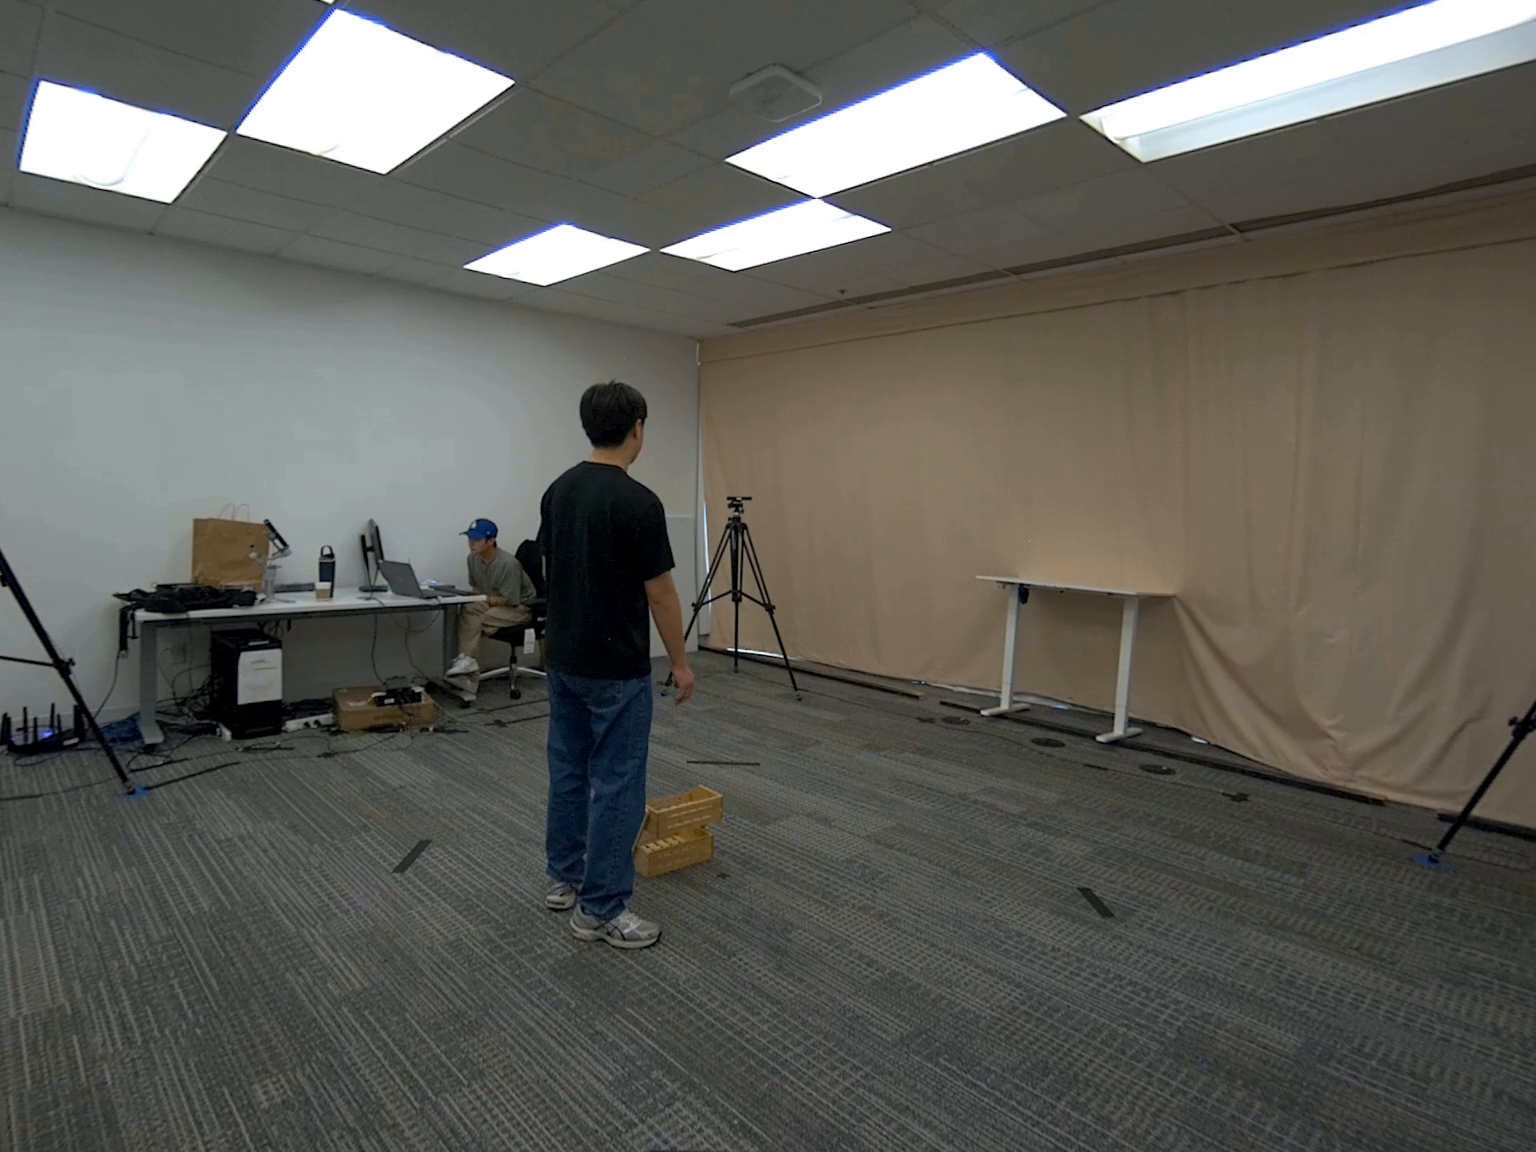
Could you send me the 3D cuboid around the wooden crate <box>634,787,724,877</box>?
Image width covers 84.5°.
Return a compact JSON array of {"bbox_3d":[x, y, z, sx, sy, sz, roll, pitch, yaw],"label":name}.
[{"bbox_3d":[-0.391,0.958,3.232,0.317,0.272,0.310,-2,6,-40],"label":"wooden crate"}]
